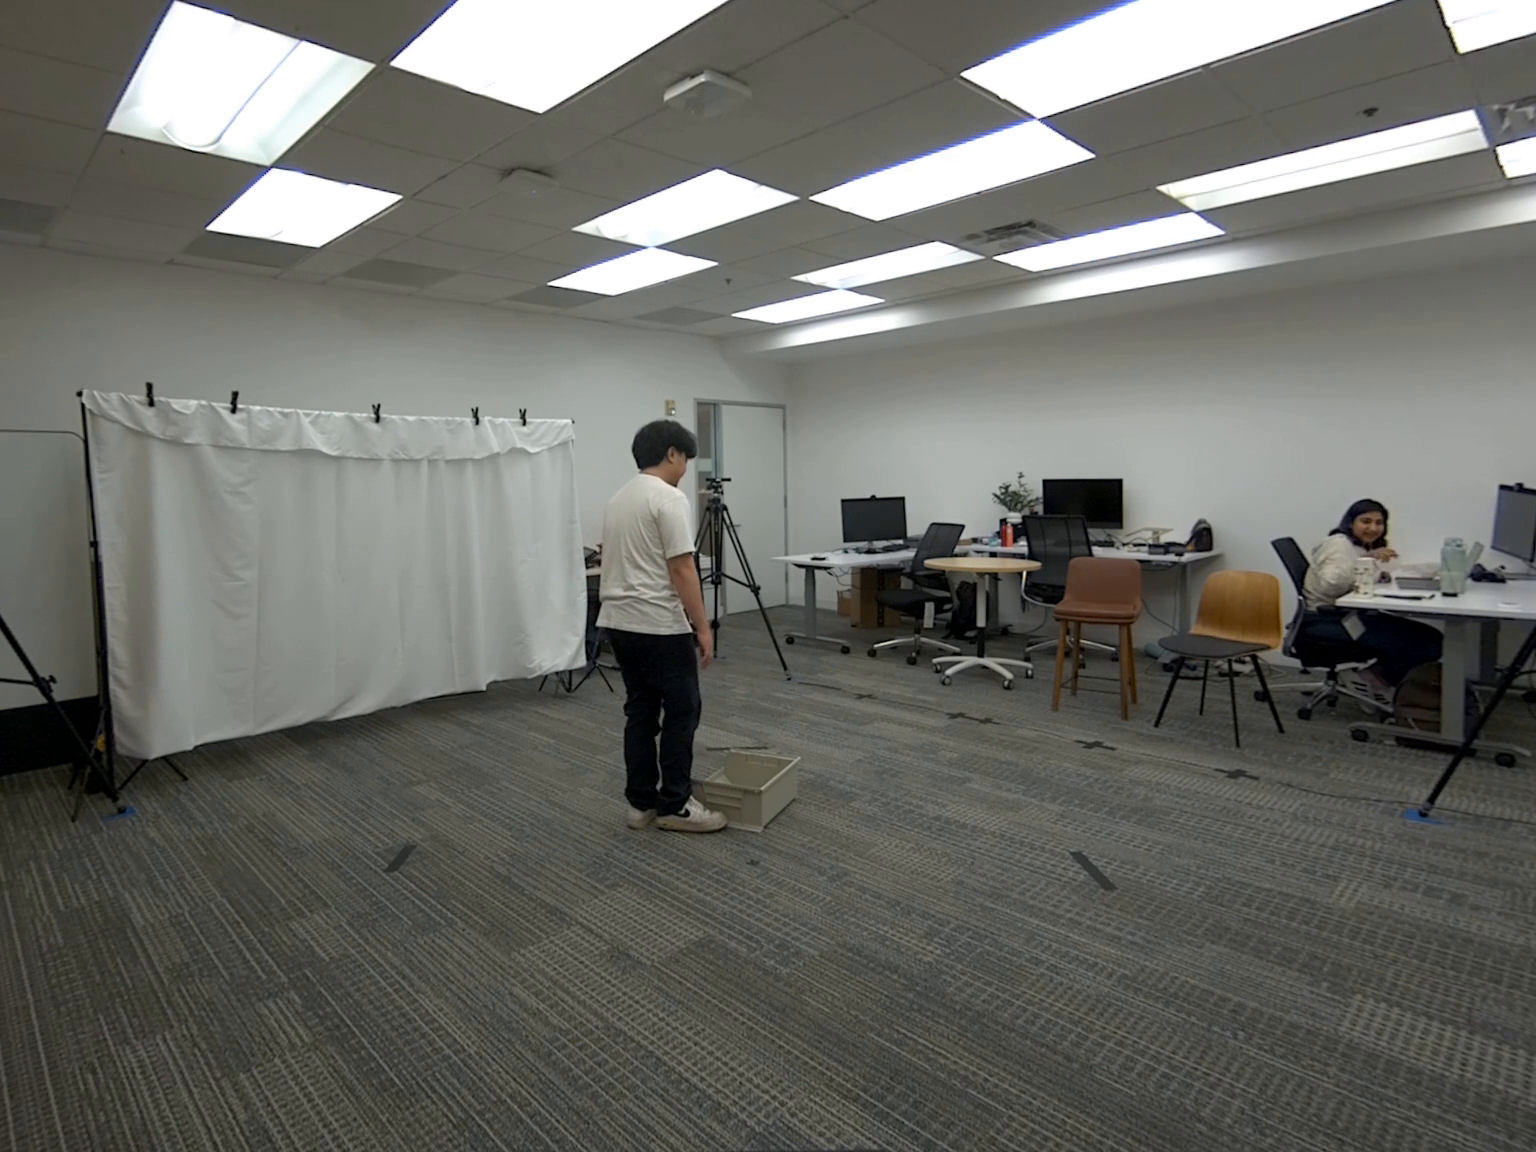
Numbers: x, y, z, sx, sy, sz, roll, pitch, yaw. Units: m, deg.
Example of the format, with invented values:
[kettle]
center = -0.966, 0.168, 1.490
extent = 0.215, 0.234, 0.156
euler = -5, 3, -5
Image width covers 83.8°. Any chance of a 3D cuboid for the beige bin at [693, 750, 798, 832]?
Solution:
[beige bin]
center = -0.112, 0.894, 3.623
extent = 0.386, 0.188, 0.414
euler = 3, 7, 25
